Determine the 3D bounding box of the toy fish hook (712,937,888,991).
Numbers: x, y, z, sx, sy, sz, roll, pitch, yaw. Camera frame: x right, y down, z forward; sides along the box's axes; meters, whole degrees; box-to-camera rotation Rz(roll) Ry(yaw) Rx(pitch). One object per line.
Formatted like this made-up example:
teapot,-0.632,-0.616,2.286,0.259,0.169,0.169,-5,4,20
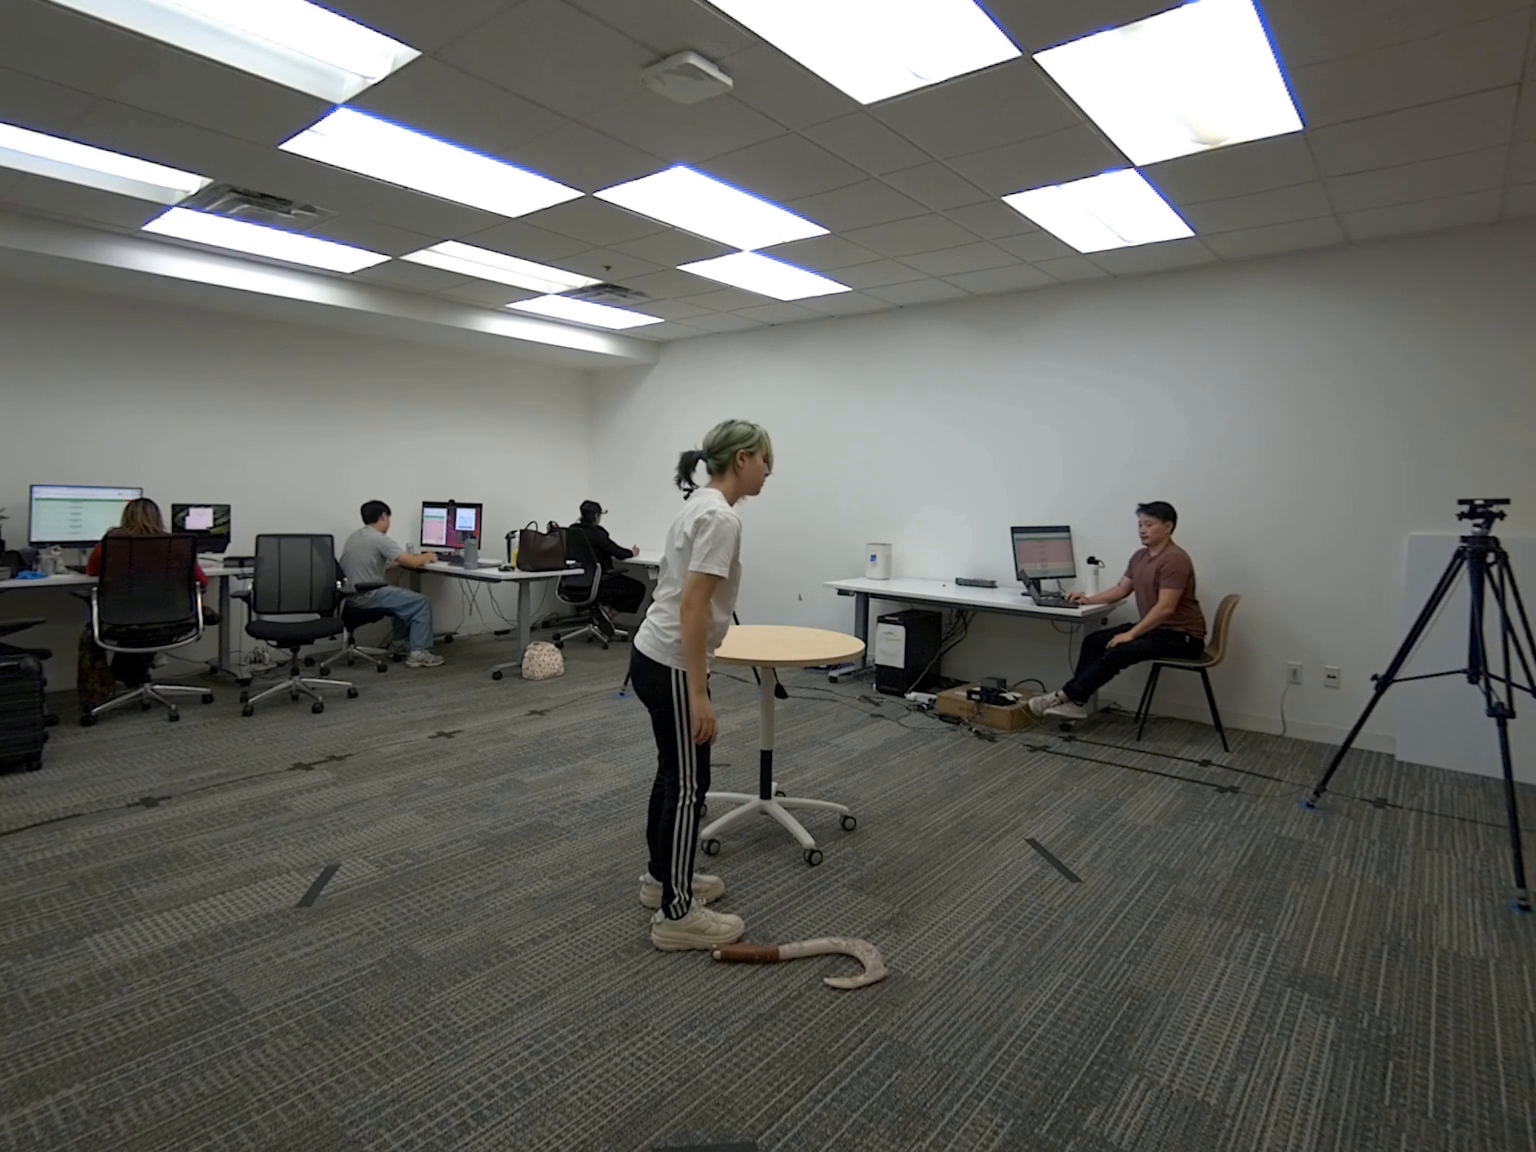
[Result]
toy fish hook,0.086,1.121,2.462,0.503,0.048,0.226,1,4,-6
